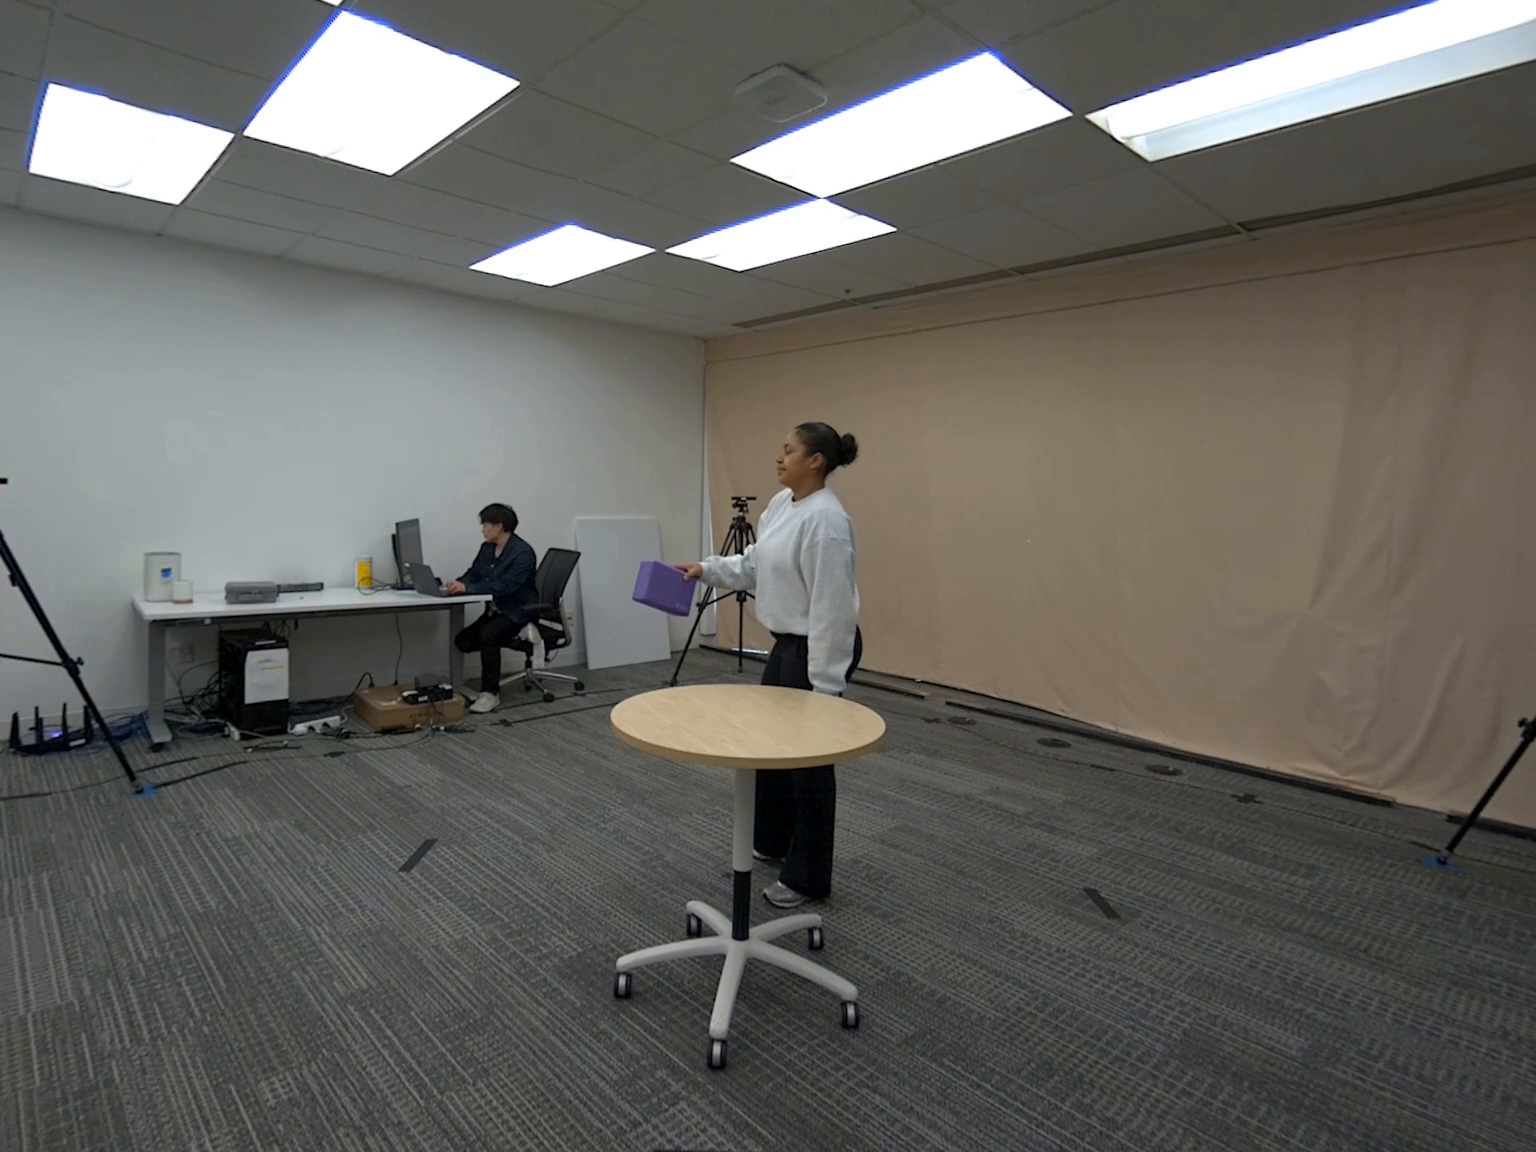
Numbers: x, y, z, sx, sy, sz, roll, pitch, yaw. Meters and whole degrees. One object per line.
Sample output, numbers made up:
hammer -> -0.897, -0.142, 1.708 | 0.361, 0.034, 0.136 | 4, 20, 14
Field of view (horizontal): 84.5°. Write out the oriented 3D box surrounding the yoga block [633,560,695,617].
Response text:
yoga block -> -0.358, 0.052, 2.941 | 0.078, 0.150, 0.222 | 0, -19, 38
